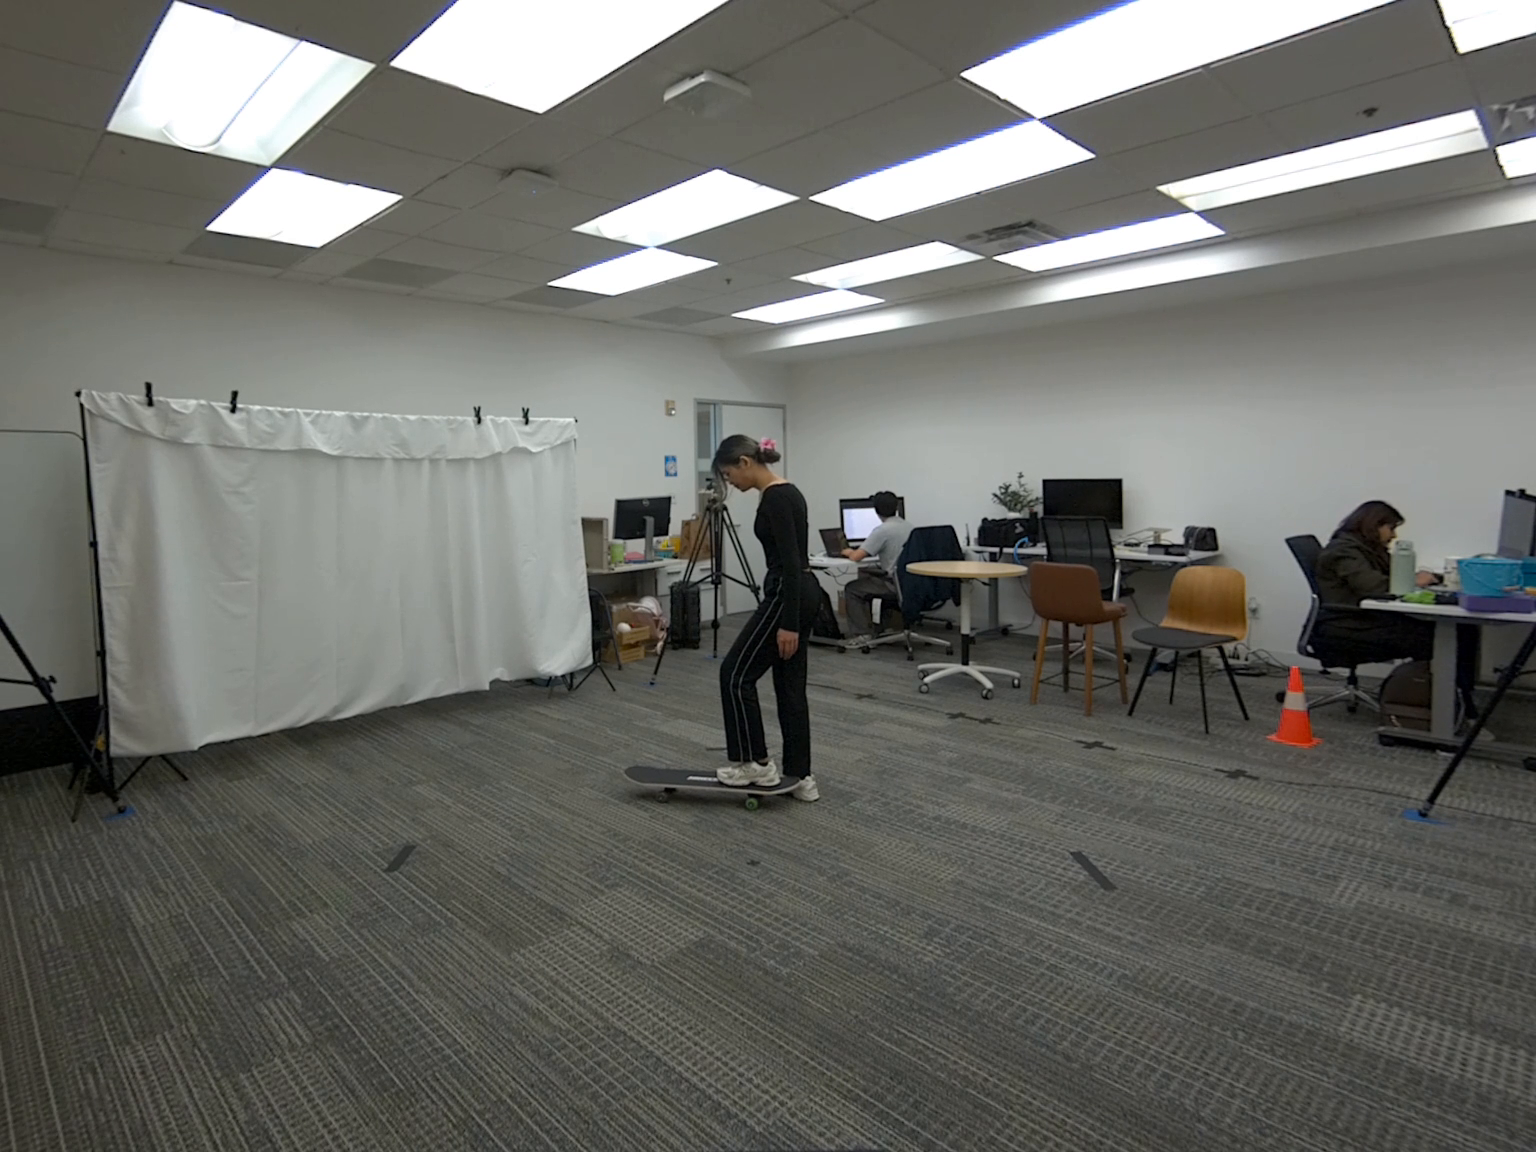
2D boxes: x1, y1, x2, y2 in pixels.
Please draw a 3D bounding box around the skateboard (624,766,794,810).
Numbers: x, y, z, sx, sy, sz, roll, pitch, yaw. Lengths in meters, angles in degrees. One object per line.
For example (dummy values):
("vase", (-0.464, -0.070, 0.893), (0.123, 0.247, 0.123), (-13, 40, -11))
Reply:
("skateboard", (-0.256, 0.923, 3.734), (0.797, 0.110, 0.191), (1, 6, 14))
